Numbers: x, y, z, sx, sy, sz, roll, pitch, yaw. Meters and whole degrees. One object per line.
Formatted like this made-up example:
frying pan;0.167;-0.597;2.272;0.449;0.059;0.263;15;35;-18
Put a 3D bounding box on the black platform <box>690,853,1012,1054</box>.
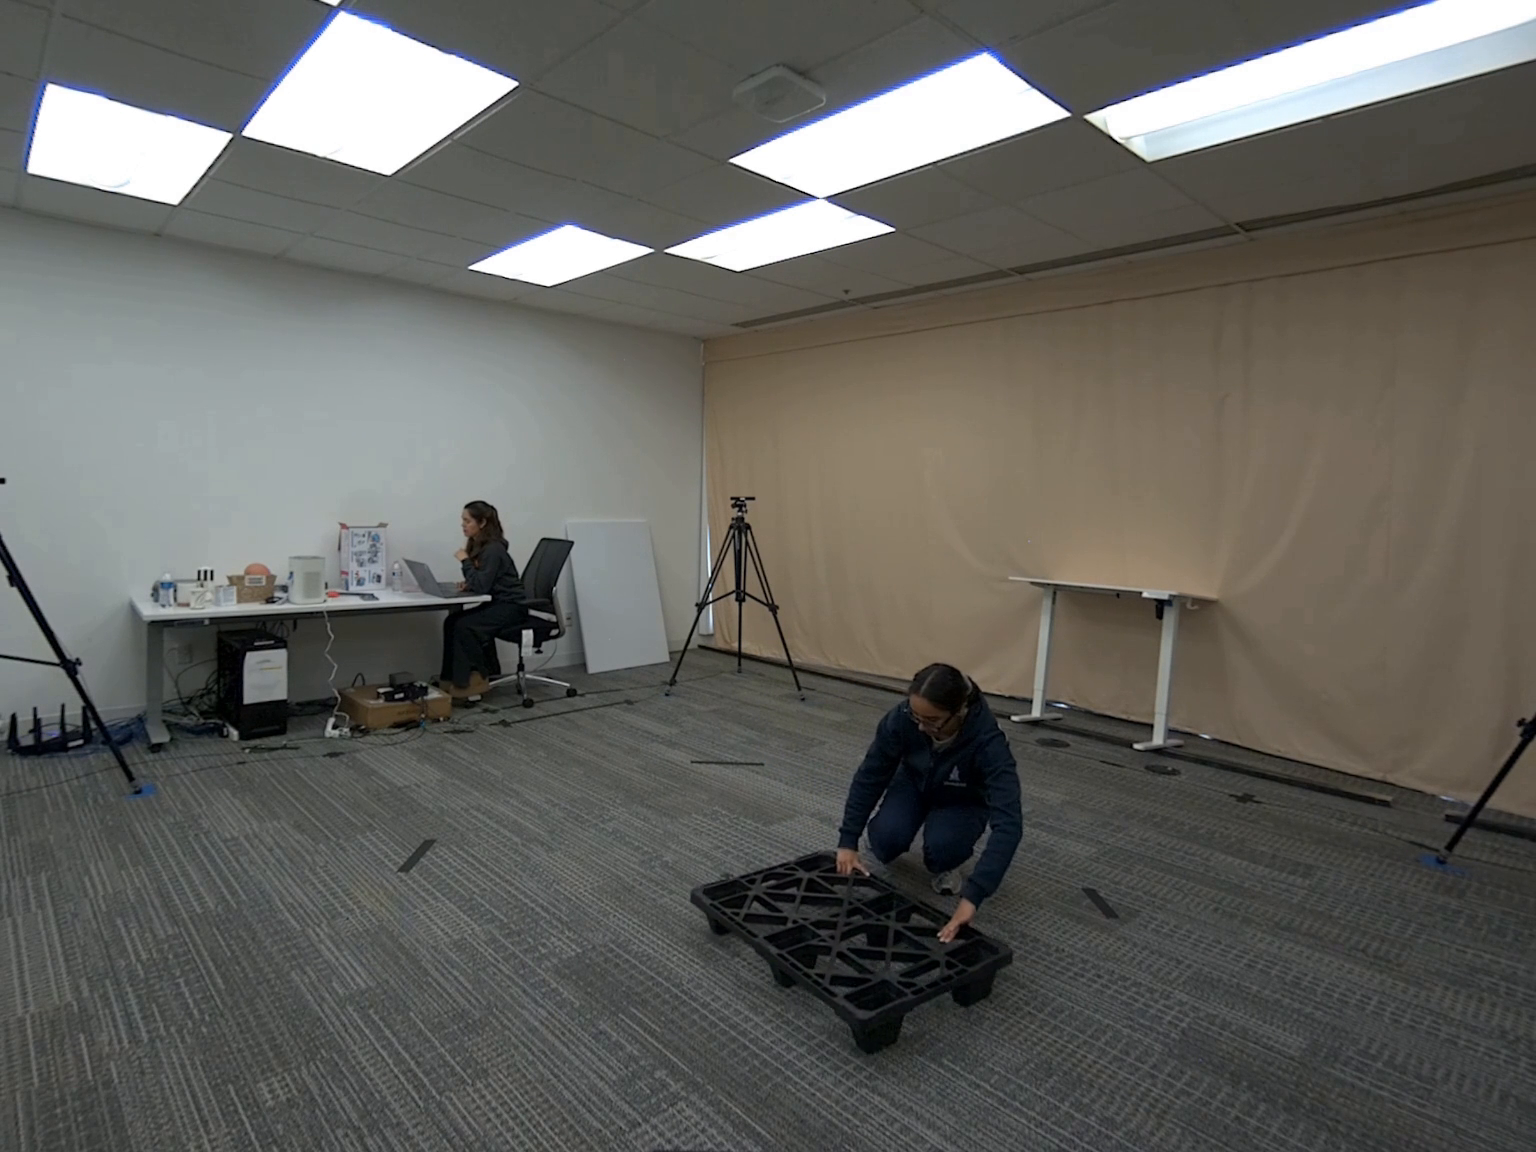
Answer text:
black platform;0.217;1.097;2.551;0.592;0.143;0.826;-3;7;-37
